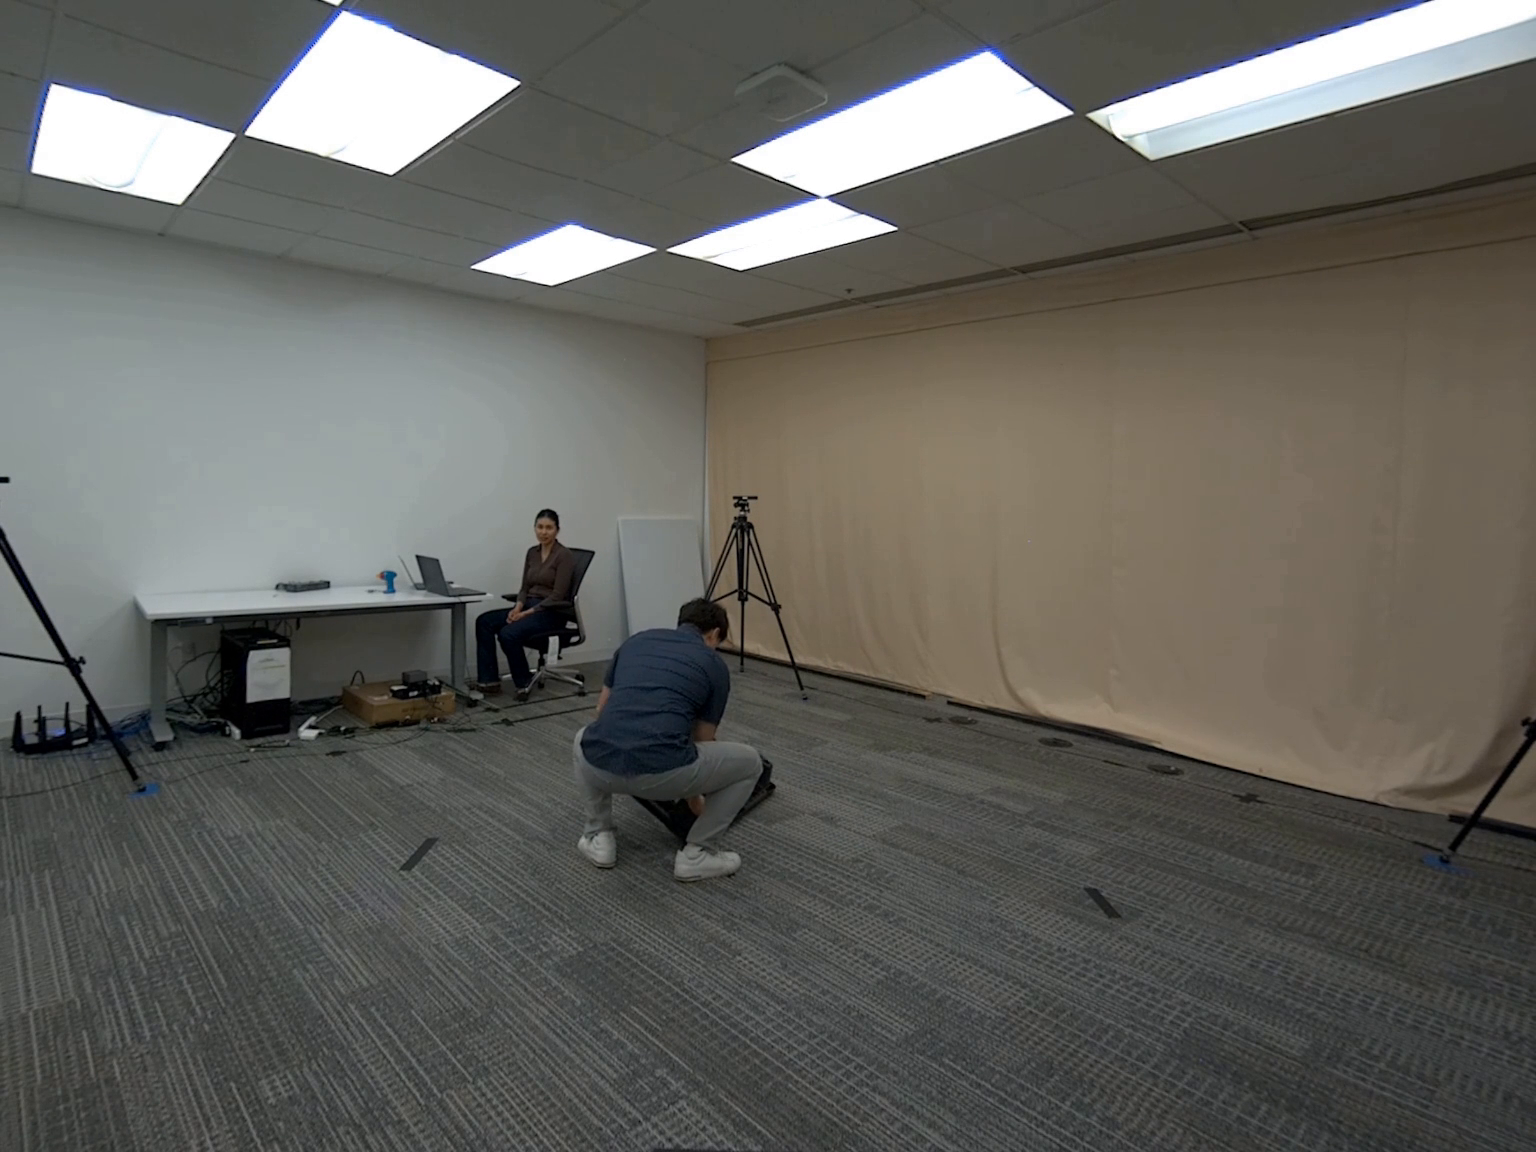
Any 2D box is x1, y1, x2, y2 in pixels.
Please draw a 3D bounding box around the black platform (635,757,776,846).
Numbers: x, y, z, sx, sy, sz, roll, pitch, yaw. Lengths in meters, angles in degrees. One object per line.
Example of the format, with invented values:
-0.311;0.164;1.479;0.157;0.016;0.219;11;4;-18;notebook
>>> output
-0.340;0.847;3.743;0.618;0.143;0.792;34;15;19;black platform
